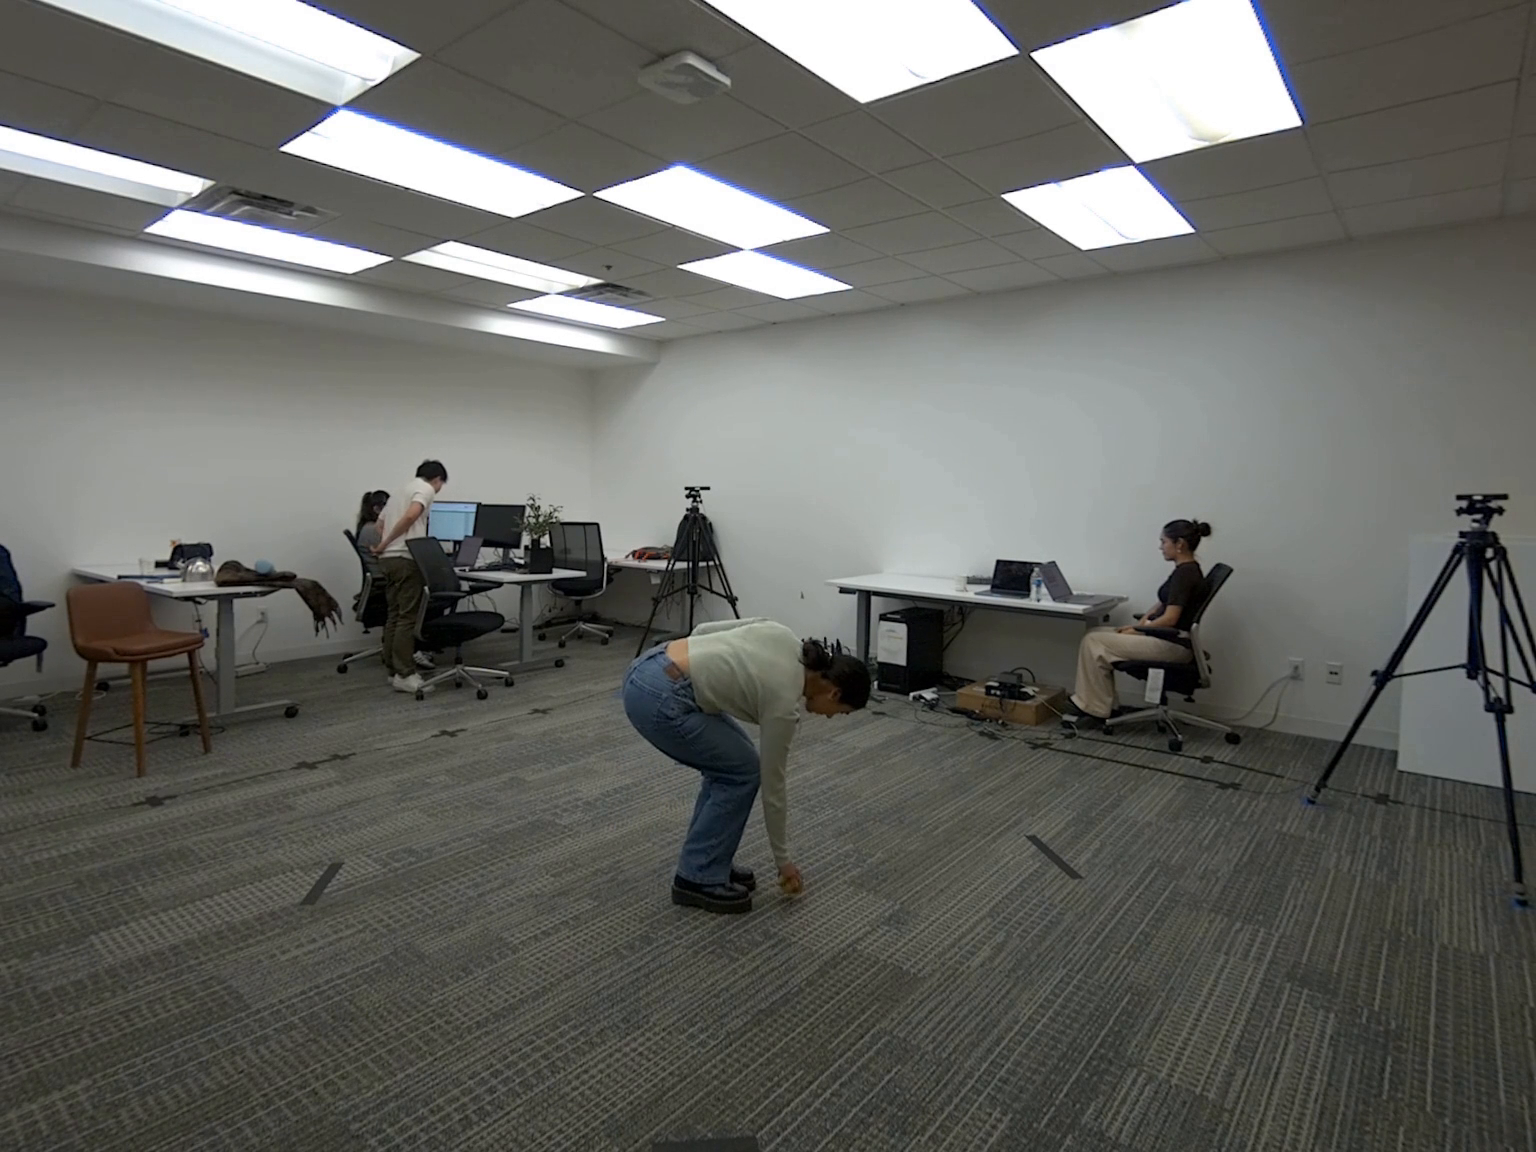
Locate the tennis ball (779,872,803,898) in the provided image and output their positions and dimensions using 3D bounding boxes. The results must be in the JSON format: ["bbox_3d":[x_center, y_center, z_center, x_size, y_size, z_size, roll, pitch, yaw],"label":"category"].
[{"bbox_3d":[0.065,1.029,2.882,0.066,0.066,0.067,1,4,-2],"label":"tennis ball"}]
